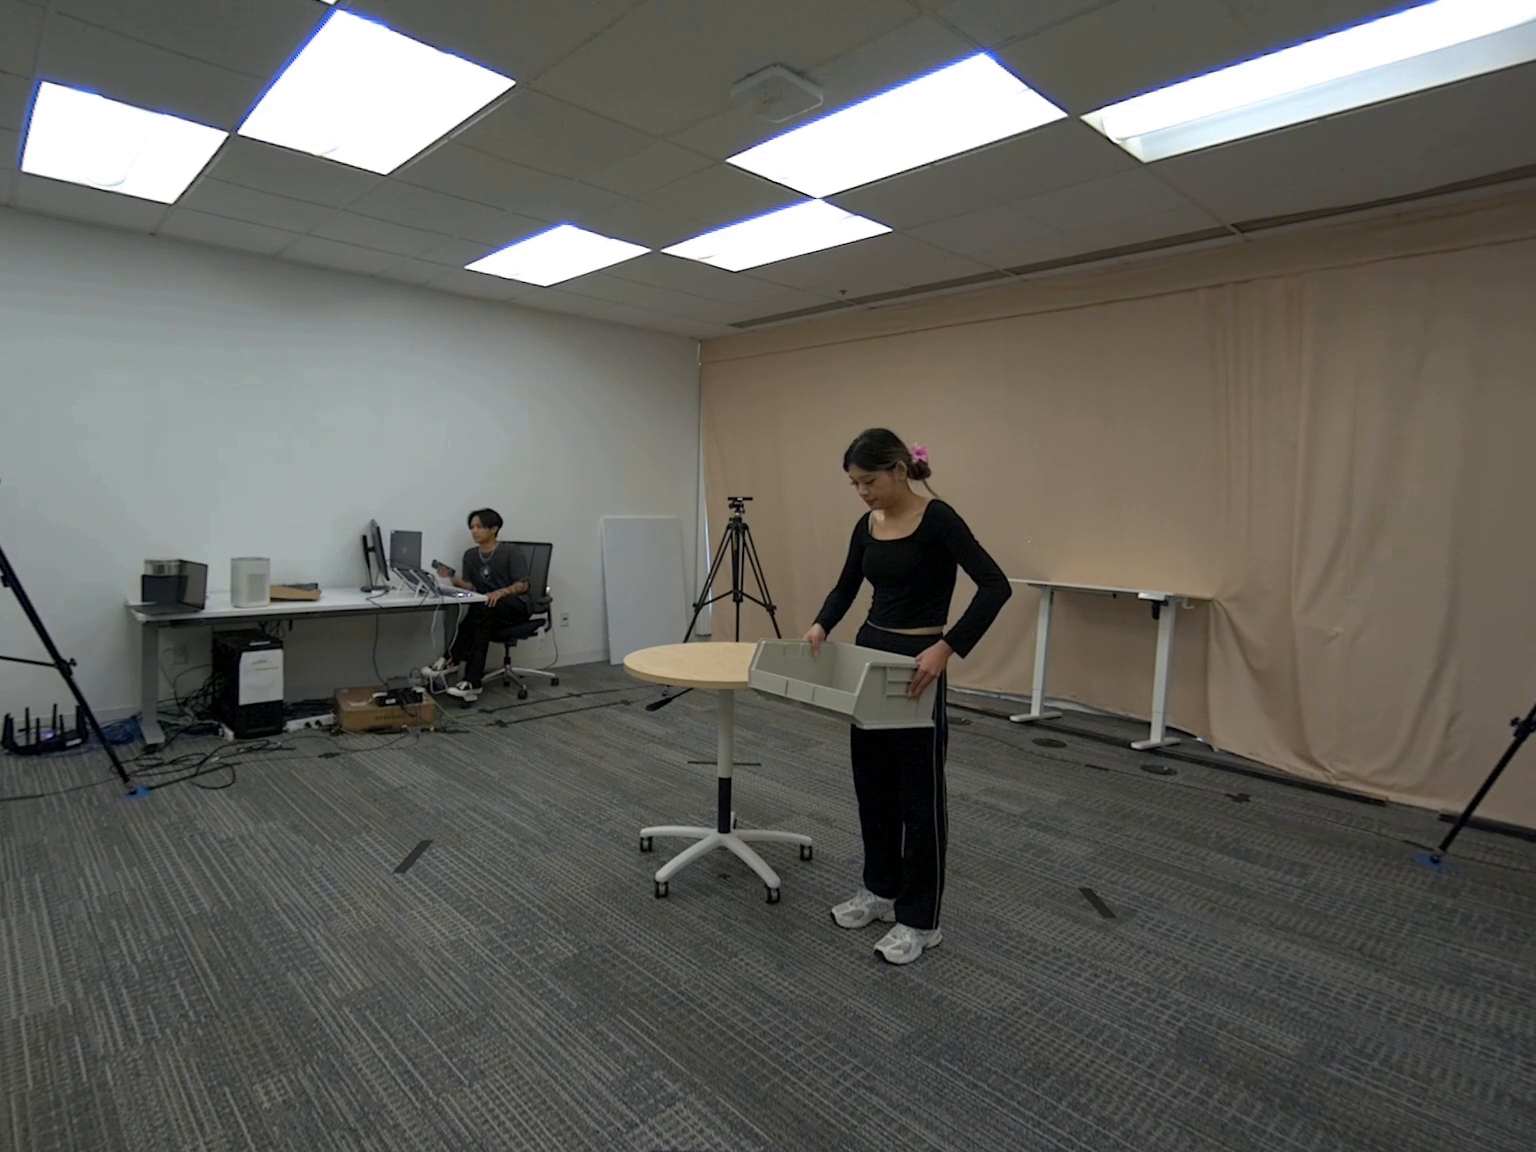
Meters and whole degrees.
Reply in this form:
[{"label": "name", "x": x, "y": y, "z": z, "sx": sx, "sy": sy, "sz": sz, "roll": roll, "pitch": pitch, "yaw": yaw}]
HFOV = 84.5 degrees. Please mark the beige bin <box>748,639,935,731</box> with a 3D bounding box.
[{"label": "beige bin", "x": 0.210, "y": 0.305, "z": 2.427, "sx": 0.367, "sy": 0.189, "sz": 0.433, "roll": 9, "pitch": -2, "yaw": -43}]
